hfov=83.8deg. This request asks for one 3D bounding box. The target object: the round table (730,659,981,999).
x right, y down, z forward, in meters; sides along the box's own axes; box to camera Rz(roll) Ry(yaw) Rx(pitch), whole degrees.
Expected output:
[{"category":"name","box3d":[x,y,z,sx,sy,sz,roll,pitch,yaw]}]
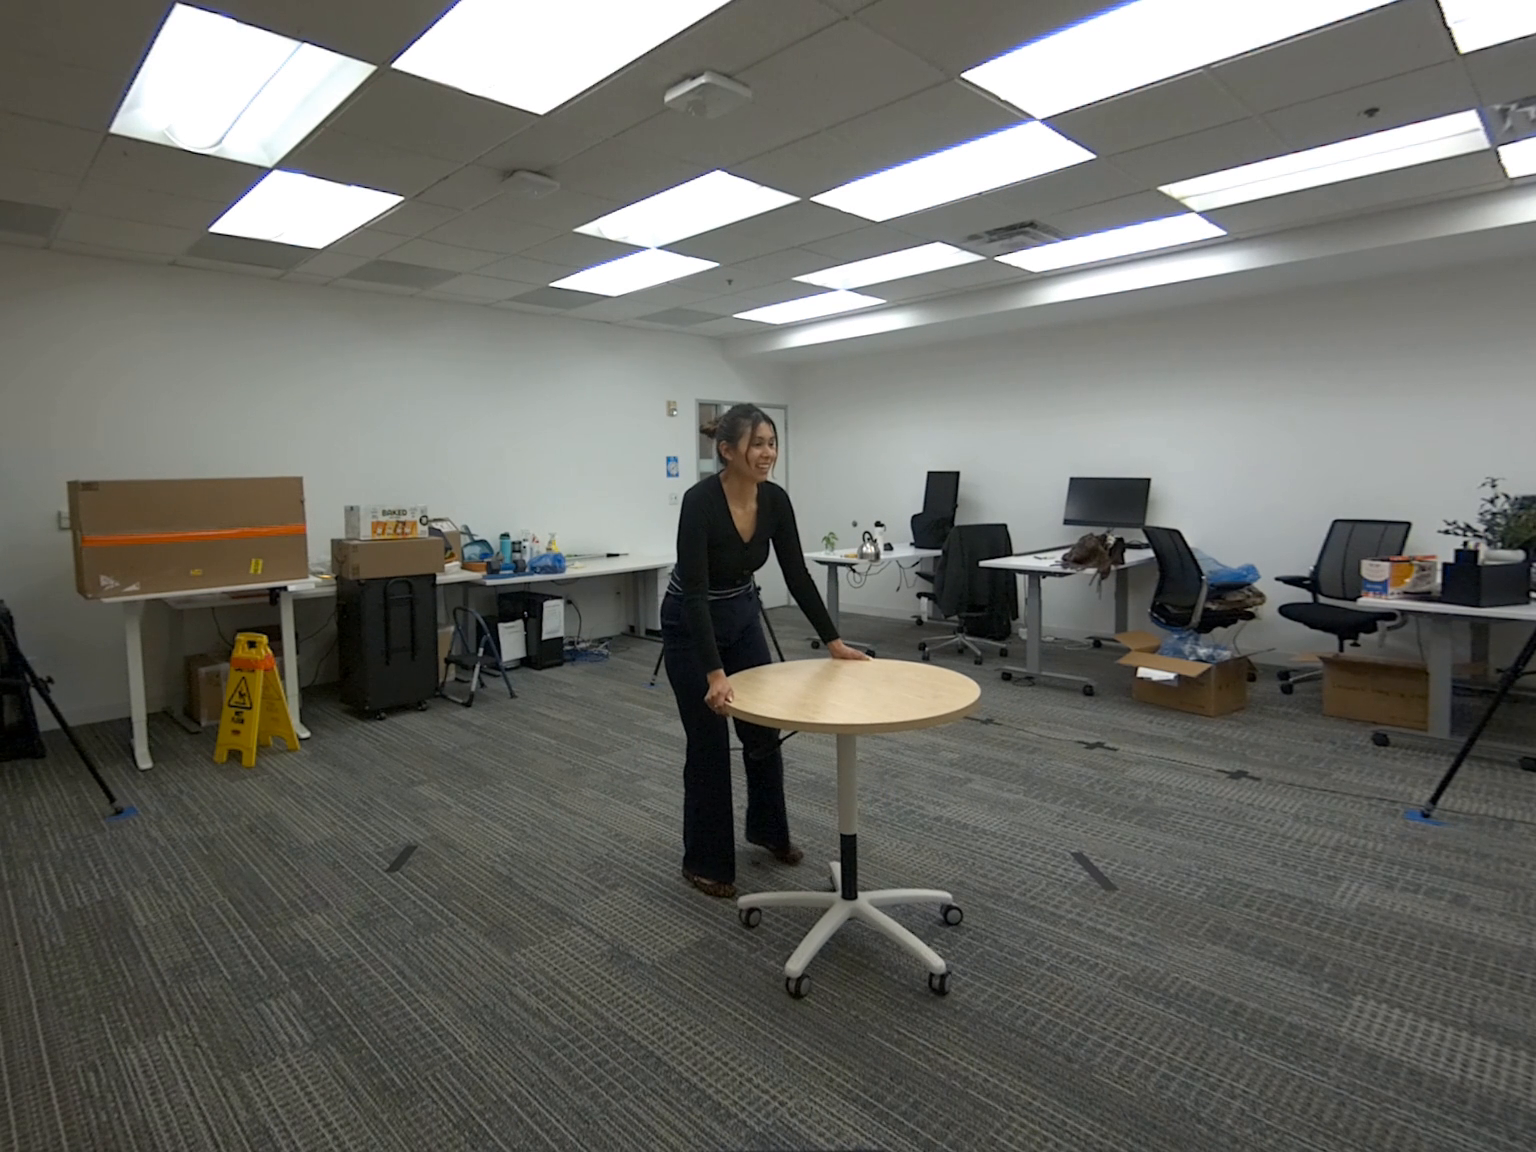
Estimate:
[{"category":"round table","box3d":[0.248,0.716,2.550,0.763,0.790,0.768,-2,5,-2]}]
